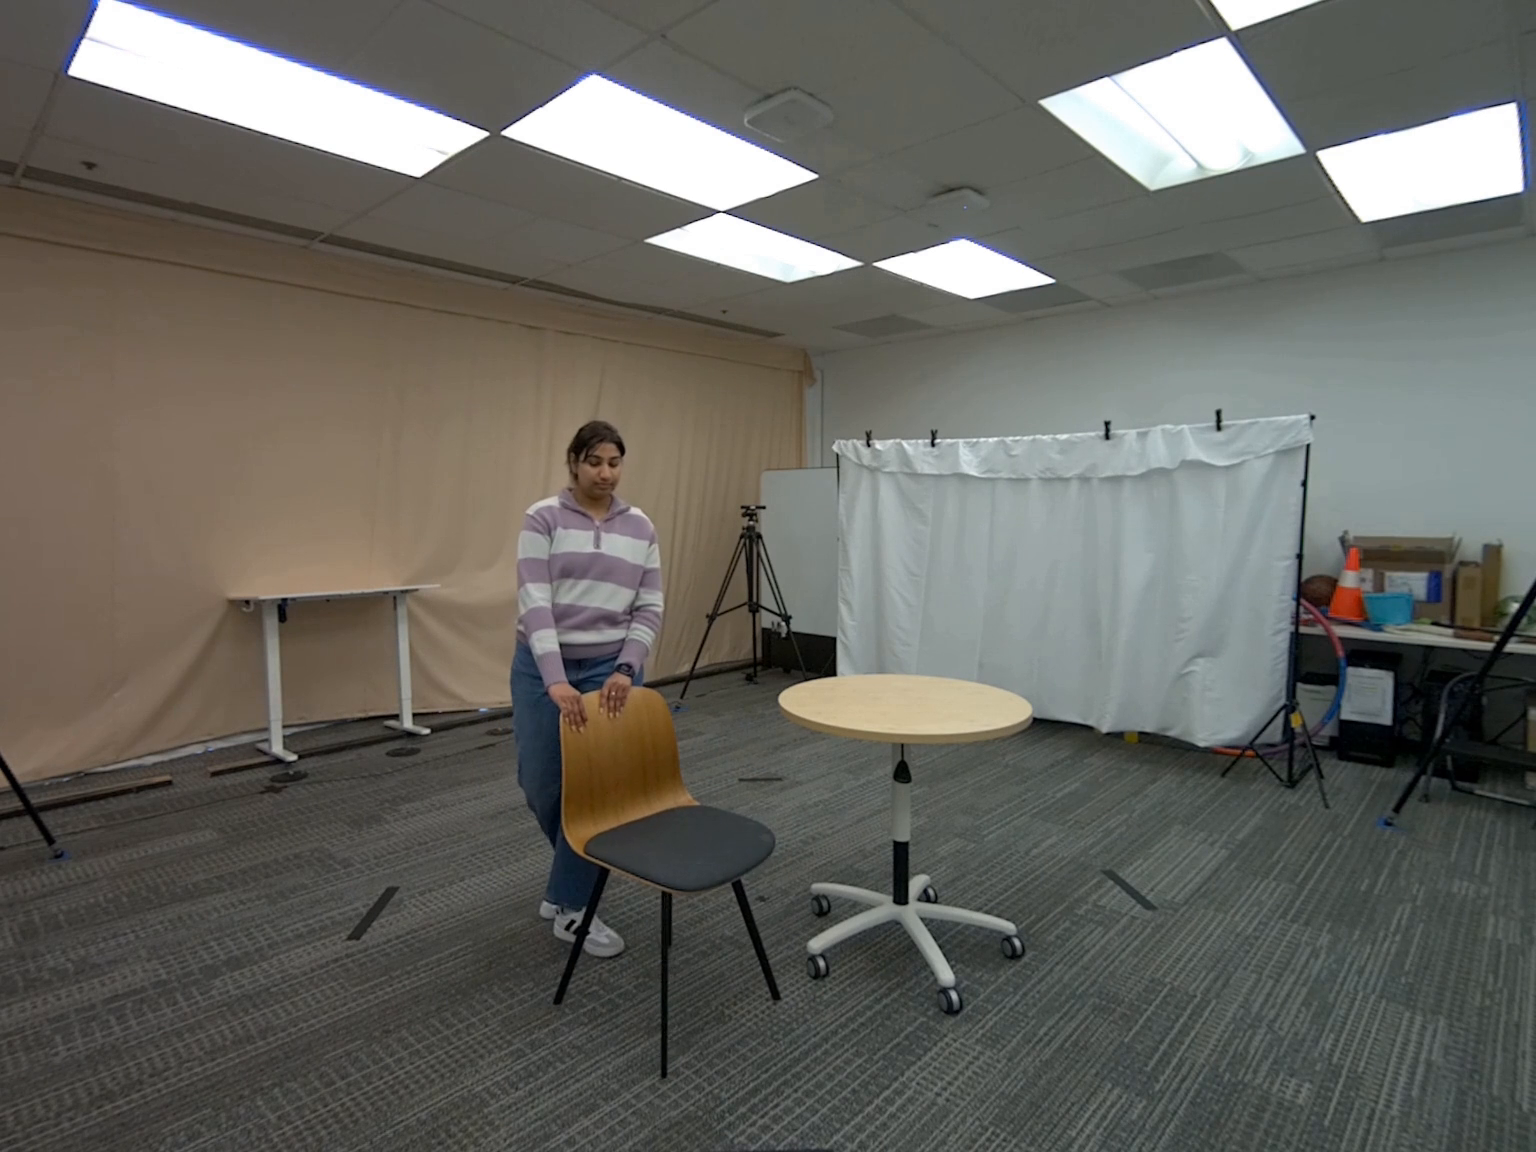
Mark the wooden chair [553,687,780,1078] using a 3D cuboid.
[{"bbox_3d":[-0.273,0.770,2.329,0.539,0.878,0.463,-4,0,42],"label":"wooden chair"}]
